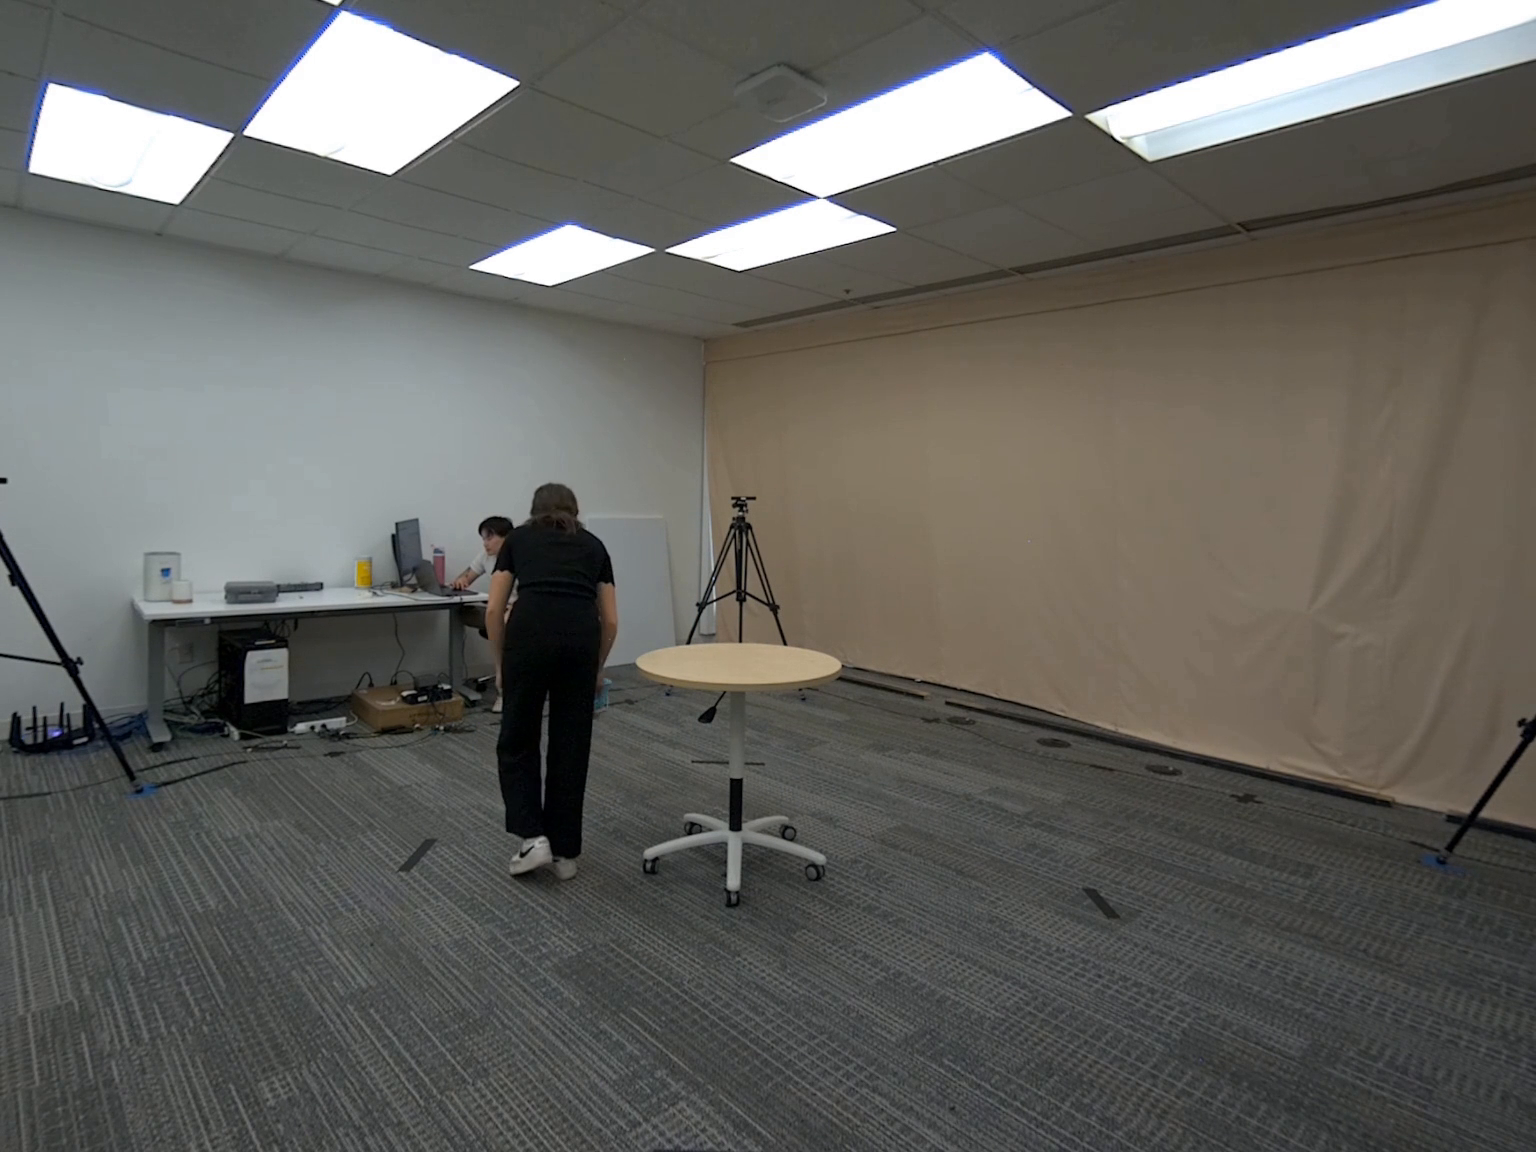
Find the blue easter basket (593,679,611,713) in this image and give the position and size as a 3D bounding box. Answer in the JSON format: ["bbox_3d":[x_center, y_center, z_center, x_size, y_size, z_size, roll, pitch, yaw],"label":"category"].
[{"bbox_3d":[-0.776,0.502,3.469,0.243,0.156,0.243,8,-2,-1],"label":"blue easter basket"}]
